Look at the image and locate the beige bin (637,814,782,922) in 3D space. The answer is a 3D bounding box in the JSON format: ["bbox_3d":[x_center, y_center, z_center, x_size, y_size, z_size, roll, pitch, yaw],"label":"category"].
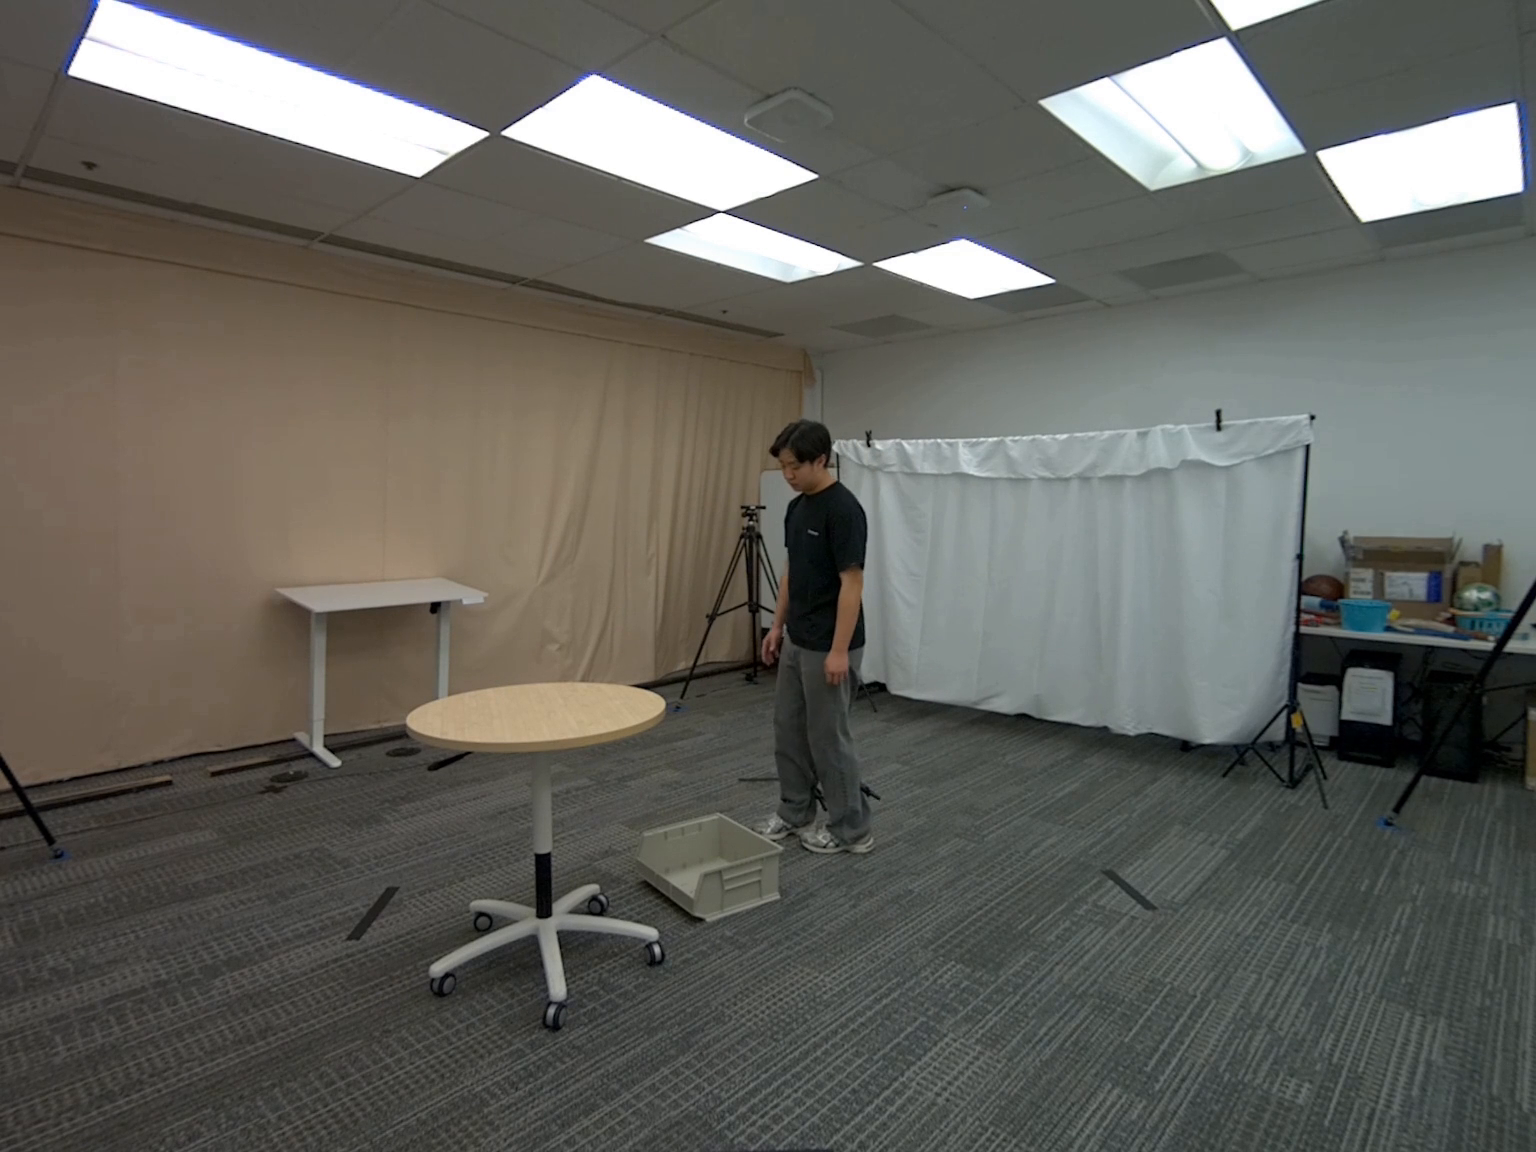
[{"bbox_3d":[-0.215,1.050,3.054,0.366,0.188,0.436,-3,5,-36],"label":"beige bin"}]
